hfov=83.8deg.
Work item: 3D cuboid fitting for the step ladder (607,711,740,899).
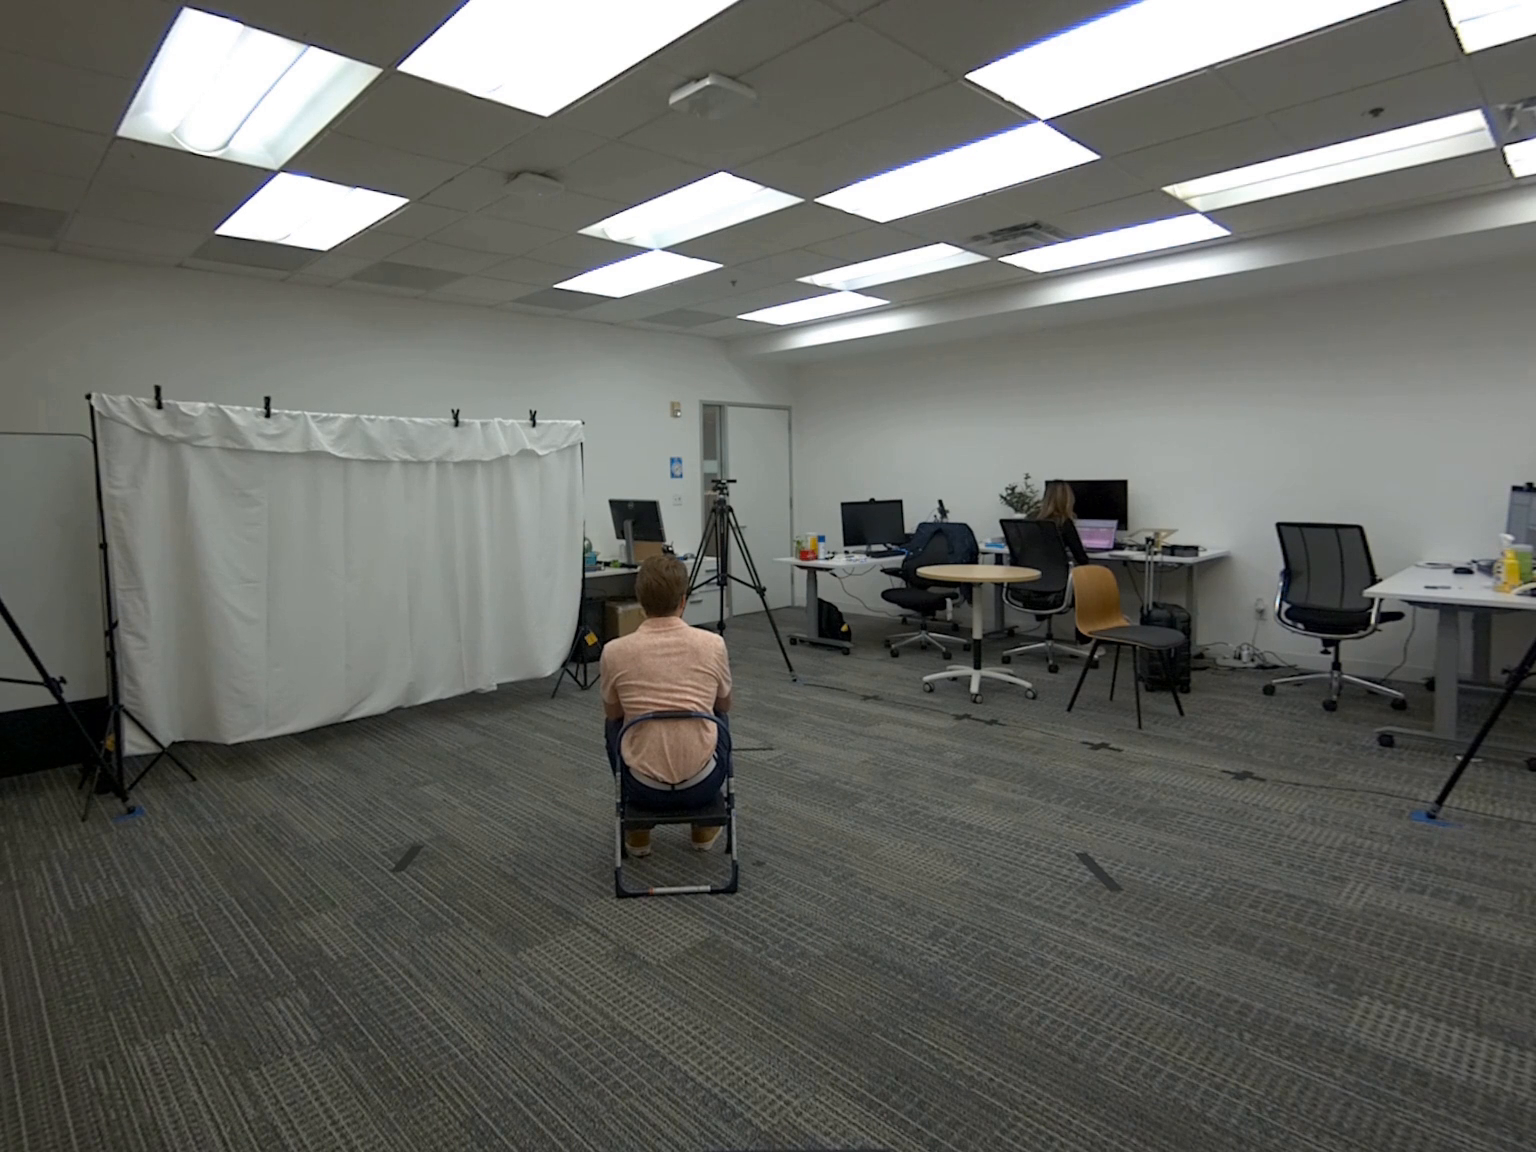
[{"bbox_3d":[-0.327,0.769,3.024,0.429,0.604,0.352,-1,4,-5],"label":"step ladder"}]
